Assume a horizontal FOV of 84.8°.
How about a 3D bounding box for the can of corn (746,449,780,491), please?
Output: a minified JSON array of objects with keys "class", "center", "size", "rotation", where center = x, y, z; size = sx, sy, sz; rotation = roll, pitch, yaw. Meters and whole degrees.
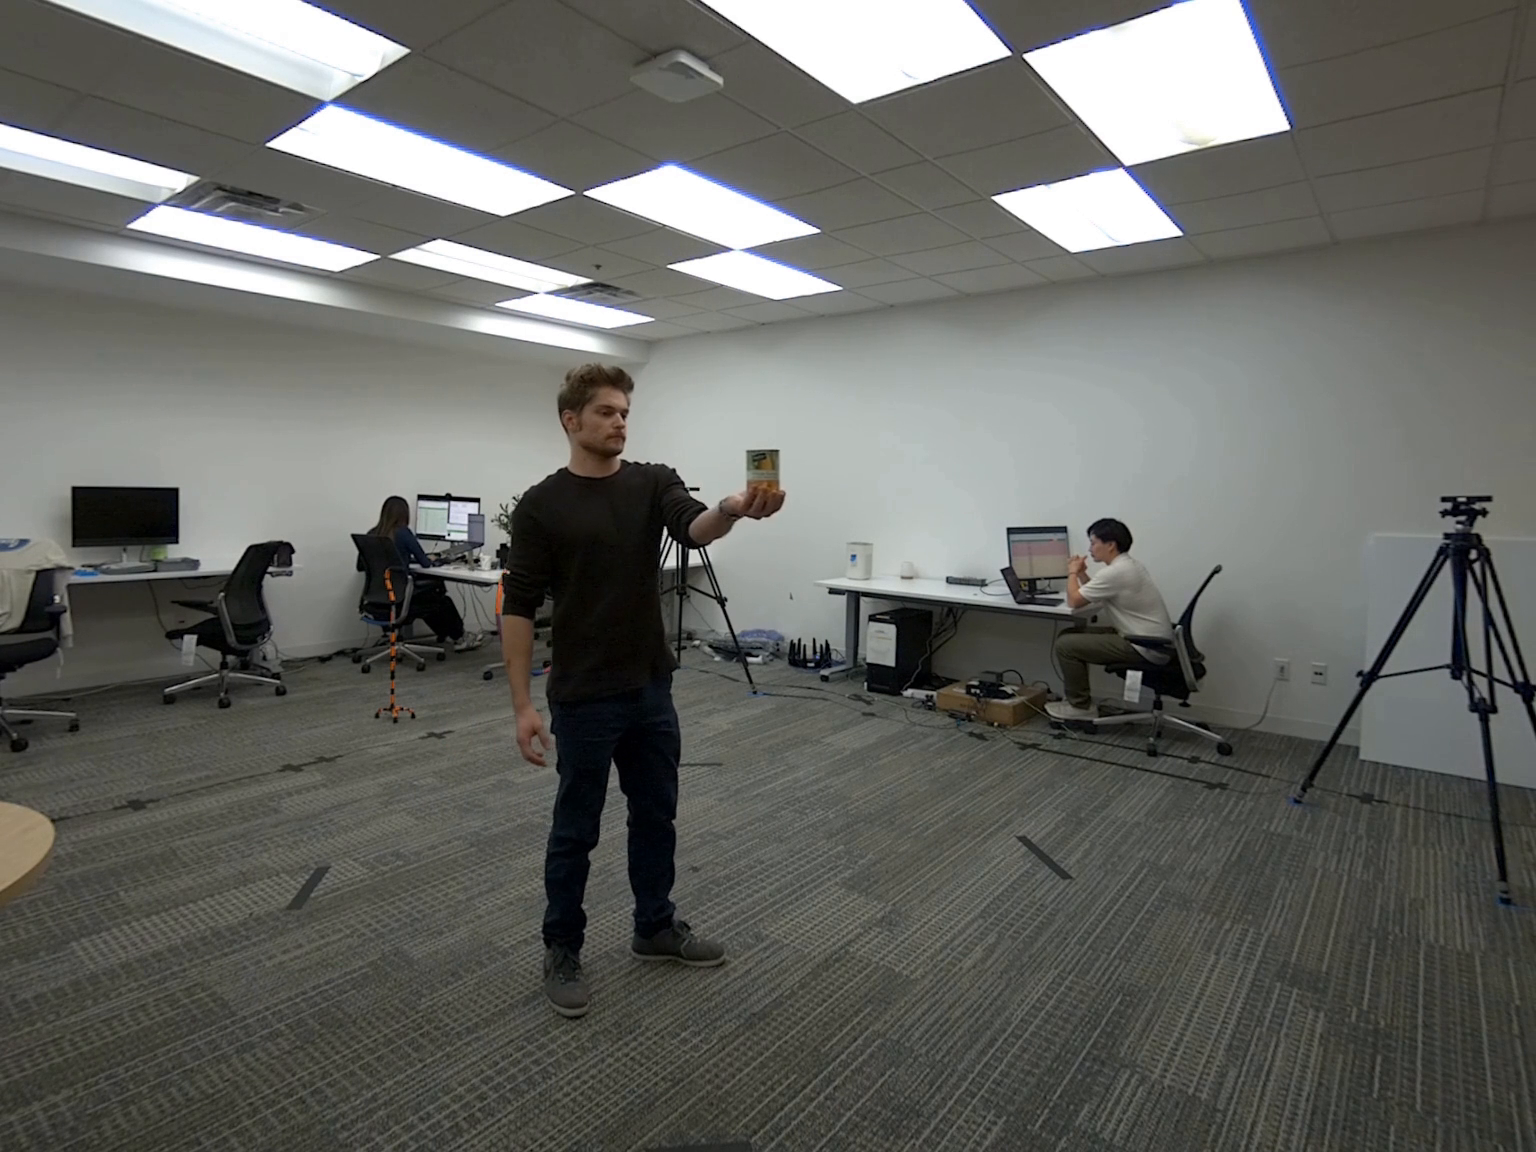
[{"class":"can of corn","center":[-0.021,-0.223,1.881],"size":[0.074,0.111,0.074],"rotation":[4,0,-2]}]
